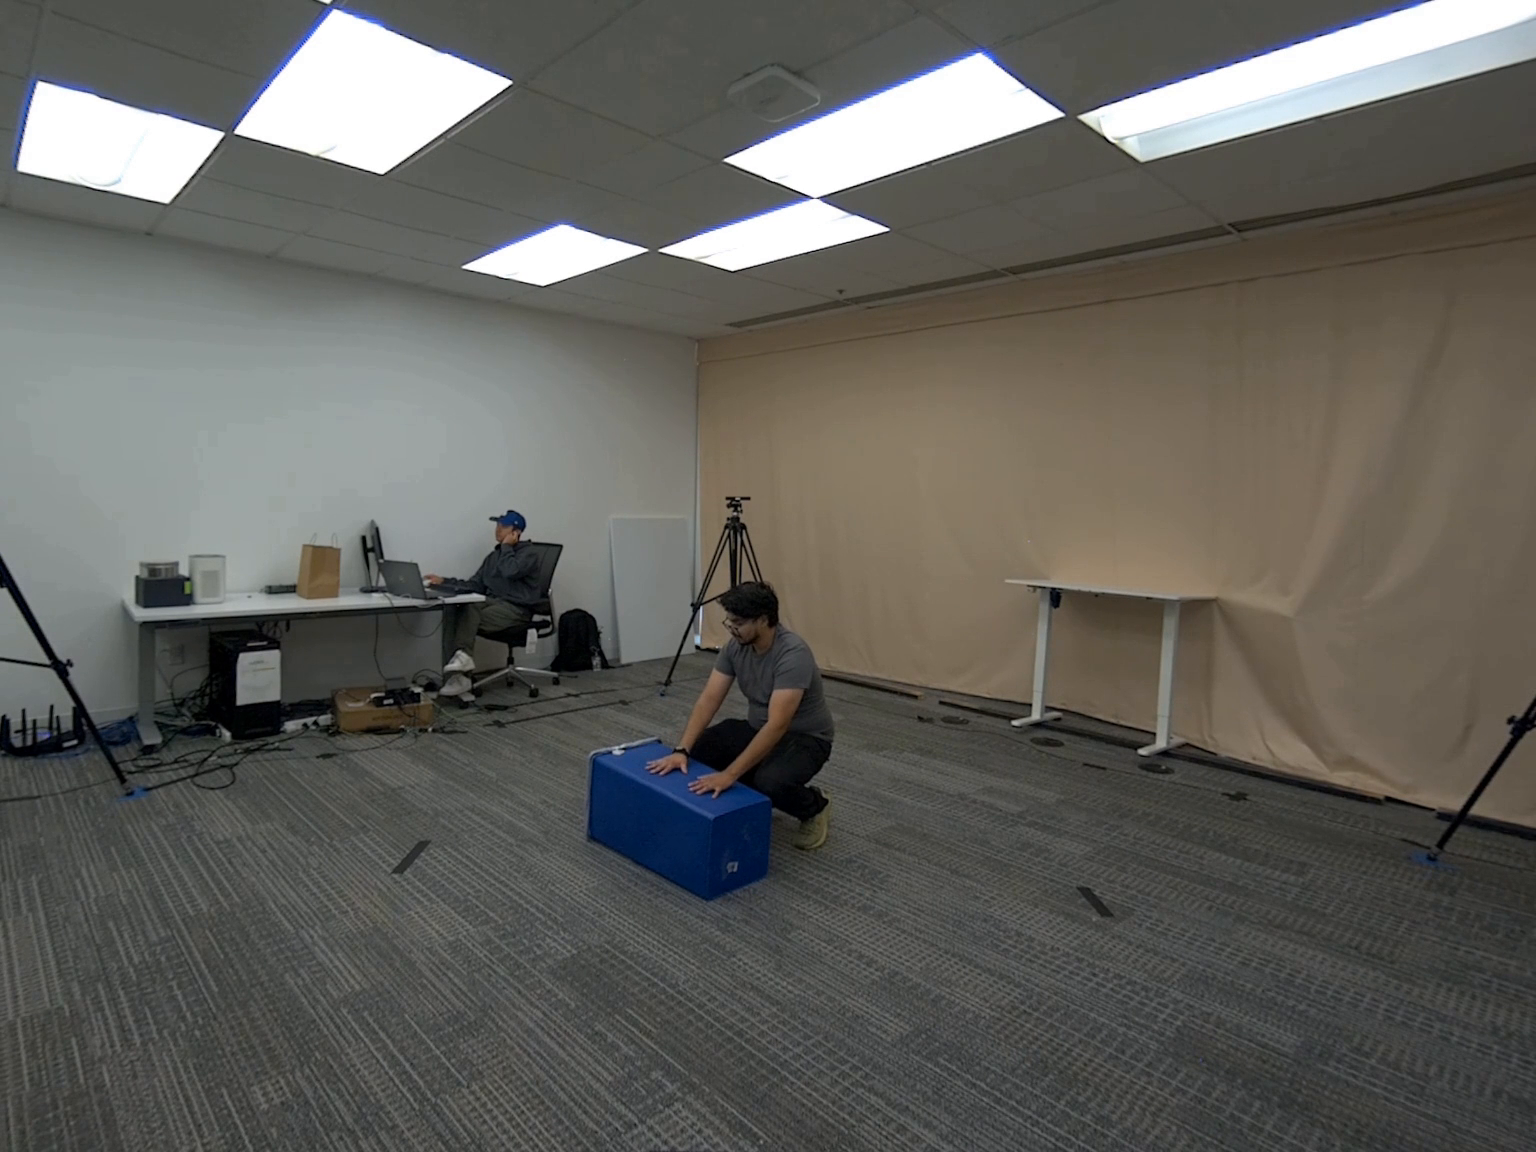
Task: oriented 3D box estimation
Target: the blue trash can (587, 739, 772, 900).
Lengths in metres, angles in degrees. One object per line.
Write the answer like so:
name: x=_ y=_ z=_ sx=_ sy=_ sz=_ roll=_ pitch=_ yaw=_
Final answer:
blue trash can: x=-0.358 y=0.918 z=3.235 sx=0.365 sy=0.377 sz=0.732 roll=-2 pitch=8 yaw=-43
